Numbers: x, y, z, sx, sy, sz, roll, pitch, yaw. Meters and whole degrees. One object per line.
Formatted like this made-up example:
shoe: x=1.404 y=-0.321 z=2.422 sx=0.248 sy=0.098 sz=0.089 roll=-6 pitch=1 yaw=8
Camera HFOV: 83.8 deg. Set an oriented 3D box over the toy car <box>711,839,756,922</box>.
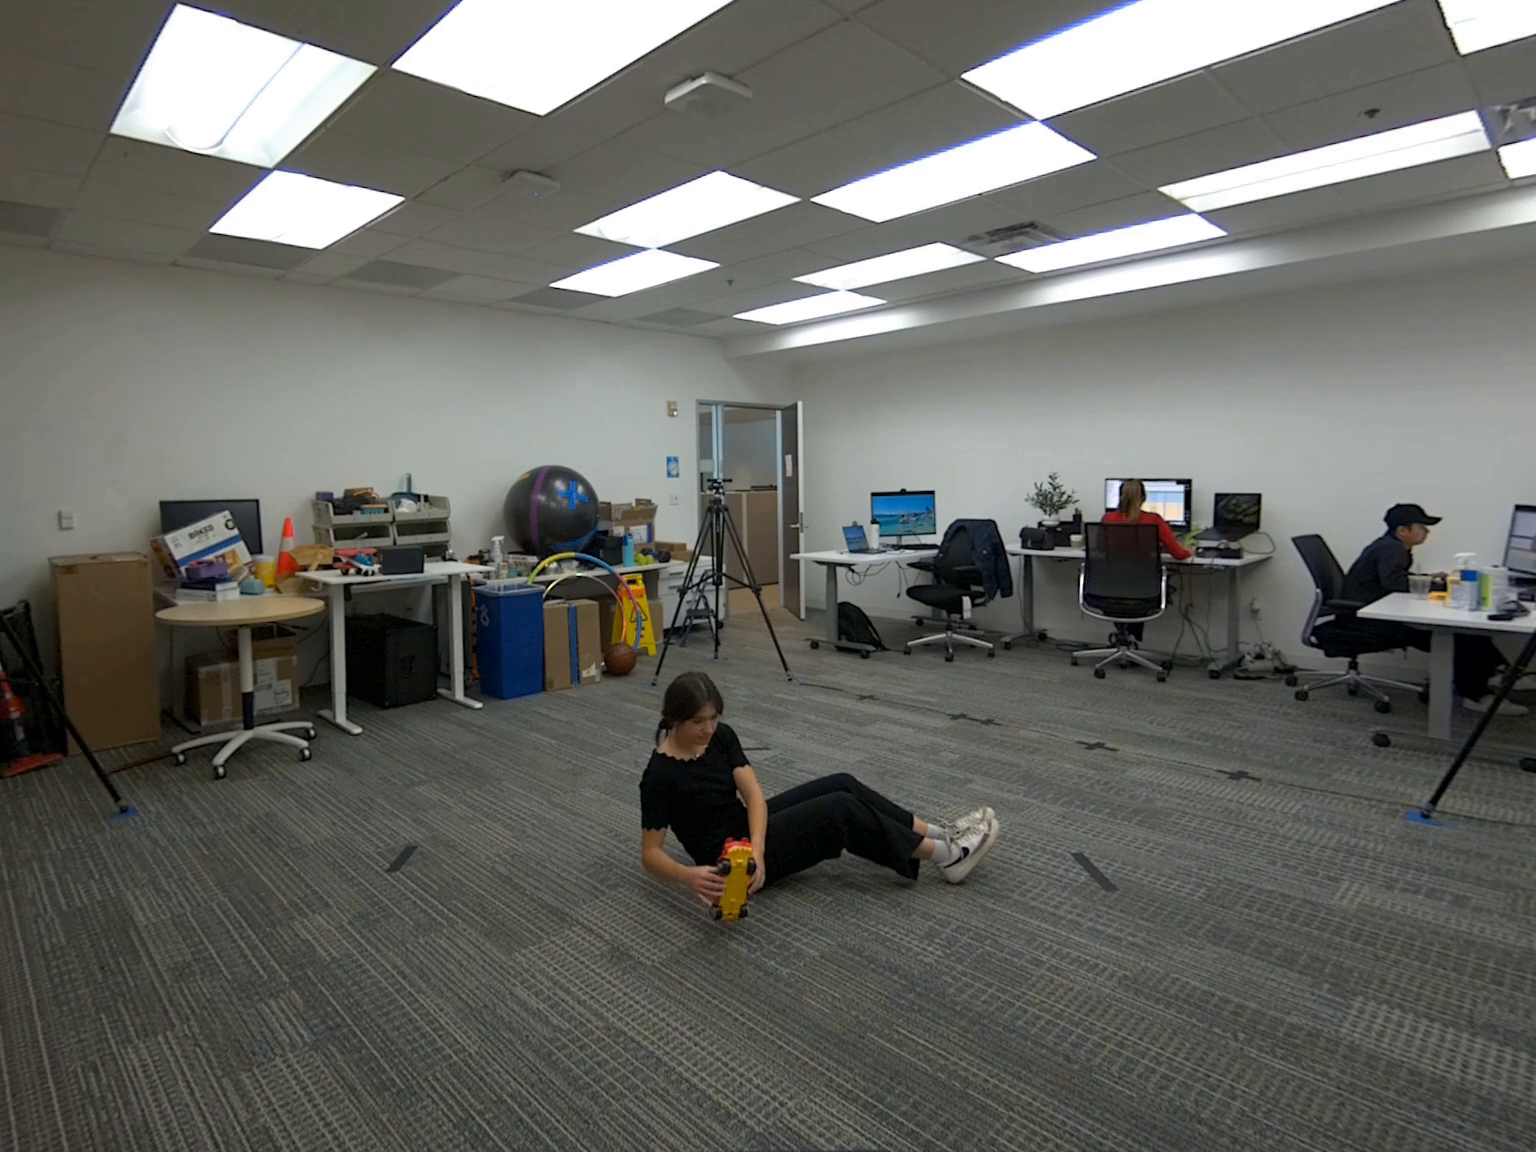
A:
toy car: x=-0.105 y=0.934 z=2.622 sx=0.127 sy=0.256 sz=0.085 roll=6 pitch=-6 yaw=-24
